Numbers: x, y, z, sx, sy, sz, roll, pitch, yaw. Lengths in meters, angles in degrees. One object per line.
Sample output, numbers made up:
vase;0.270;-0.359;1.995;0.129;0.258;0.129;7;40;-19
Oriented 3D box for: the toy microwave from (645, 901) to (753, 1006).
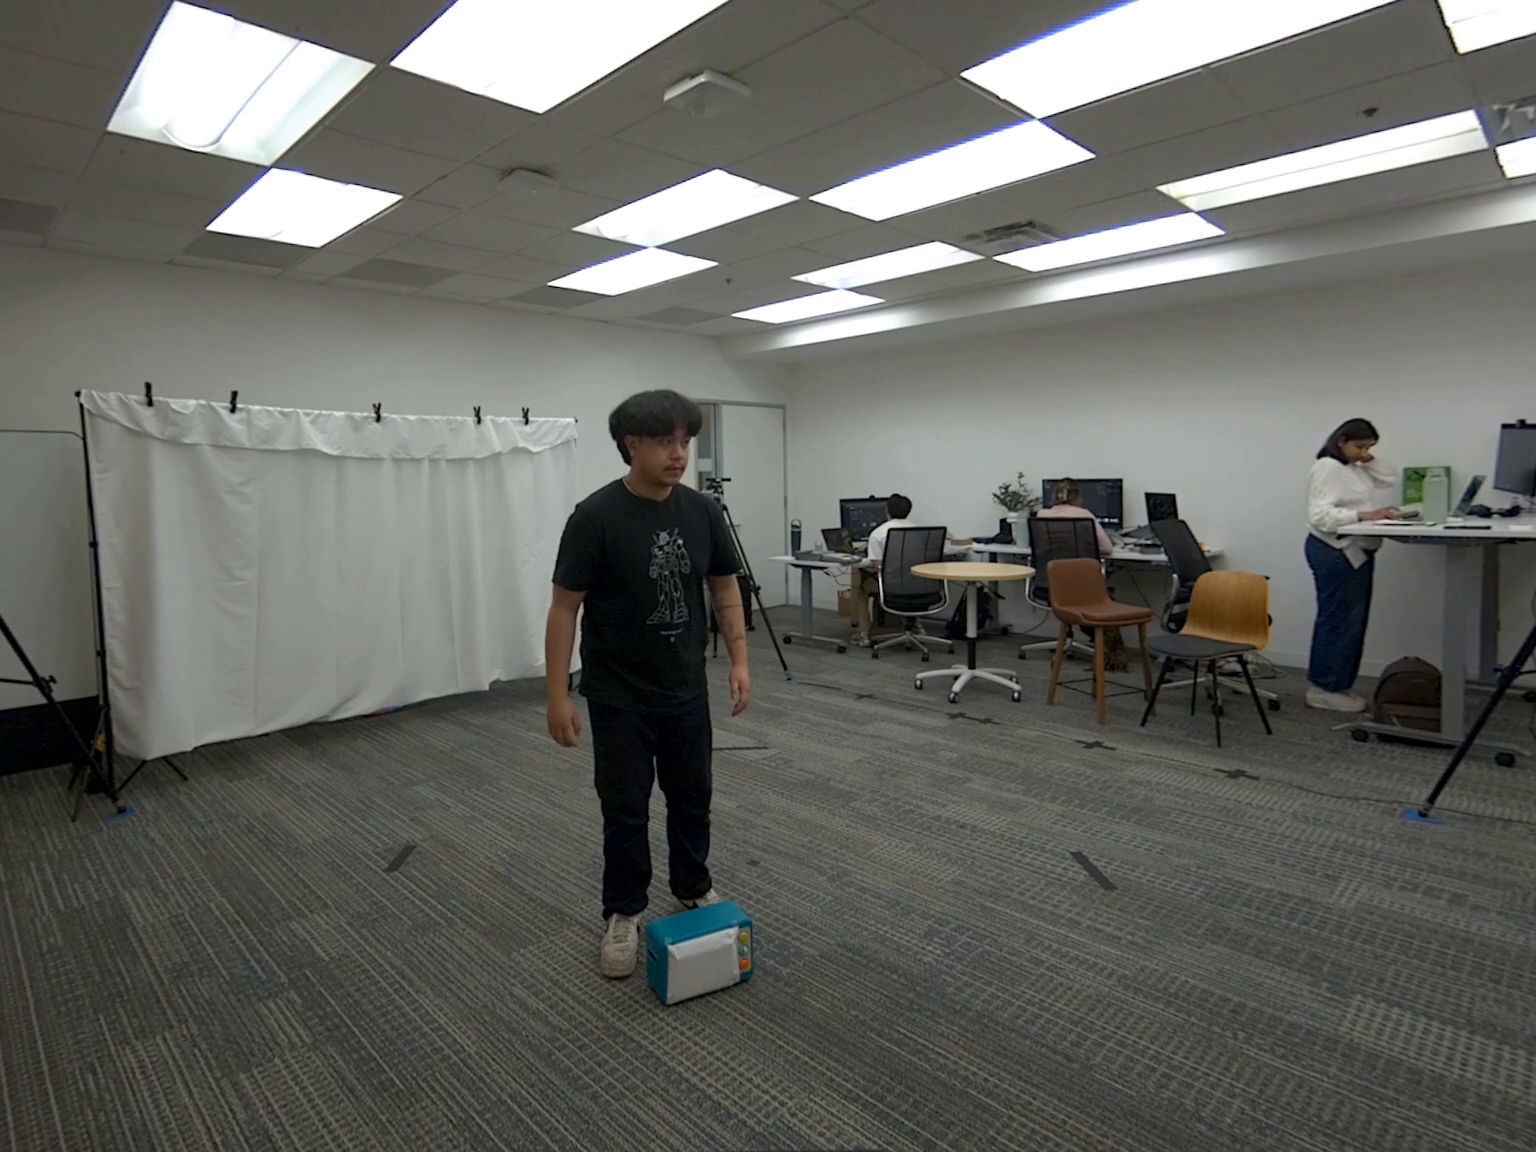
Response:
toy microwave;-0.190;1.041;2.371;0.280;0.183;0.157;-6;7;-30
